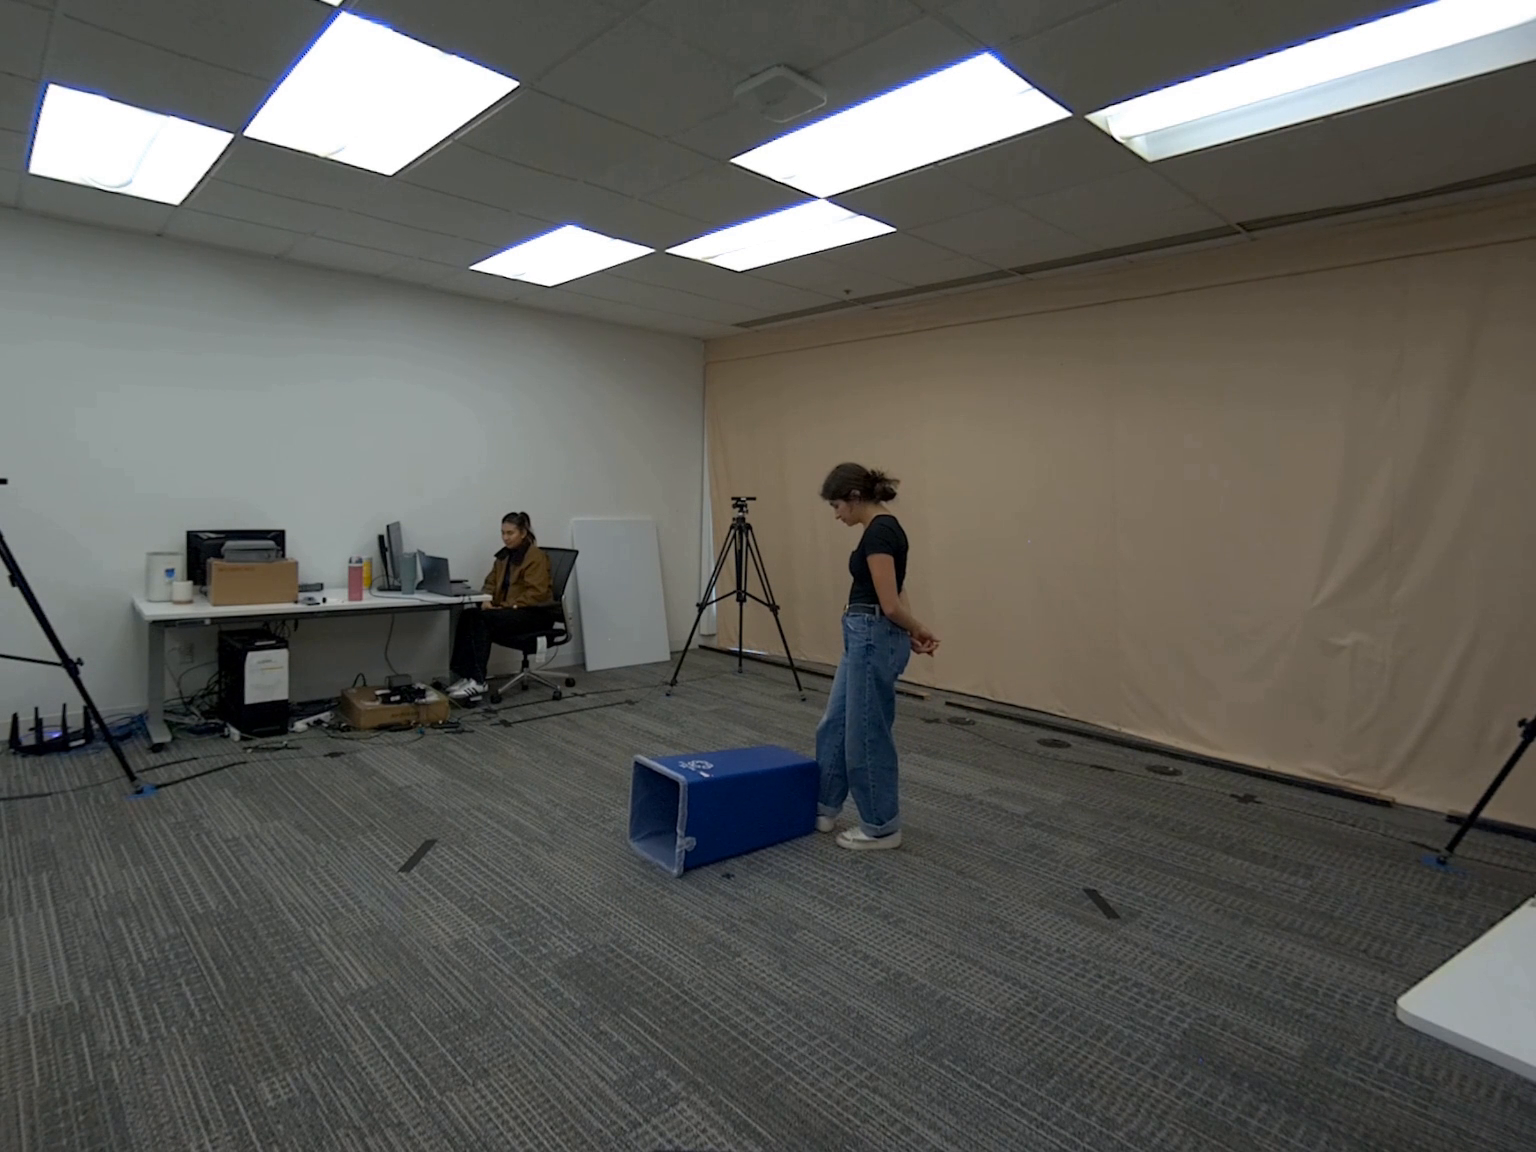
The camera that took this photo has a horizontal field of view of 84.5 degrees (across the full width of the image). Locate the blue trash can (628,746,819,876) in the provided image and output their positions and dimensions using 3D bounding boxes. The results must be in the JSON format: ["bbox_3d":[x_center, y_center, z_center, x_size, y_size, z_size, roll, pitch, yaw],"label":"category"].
[{"bbox_3d":[-0.174,0.912,3.415,0.696,0.378,0.383,1,3,-39],"label":"blue trash can"}]
